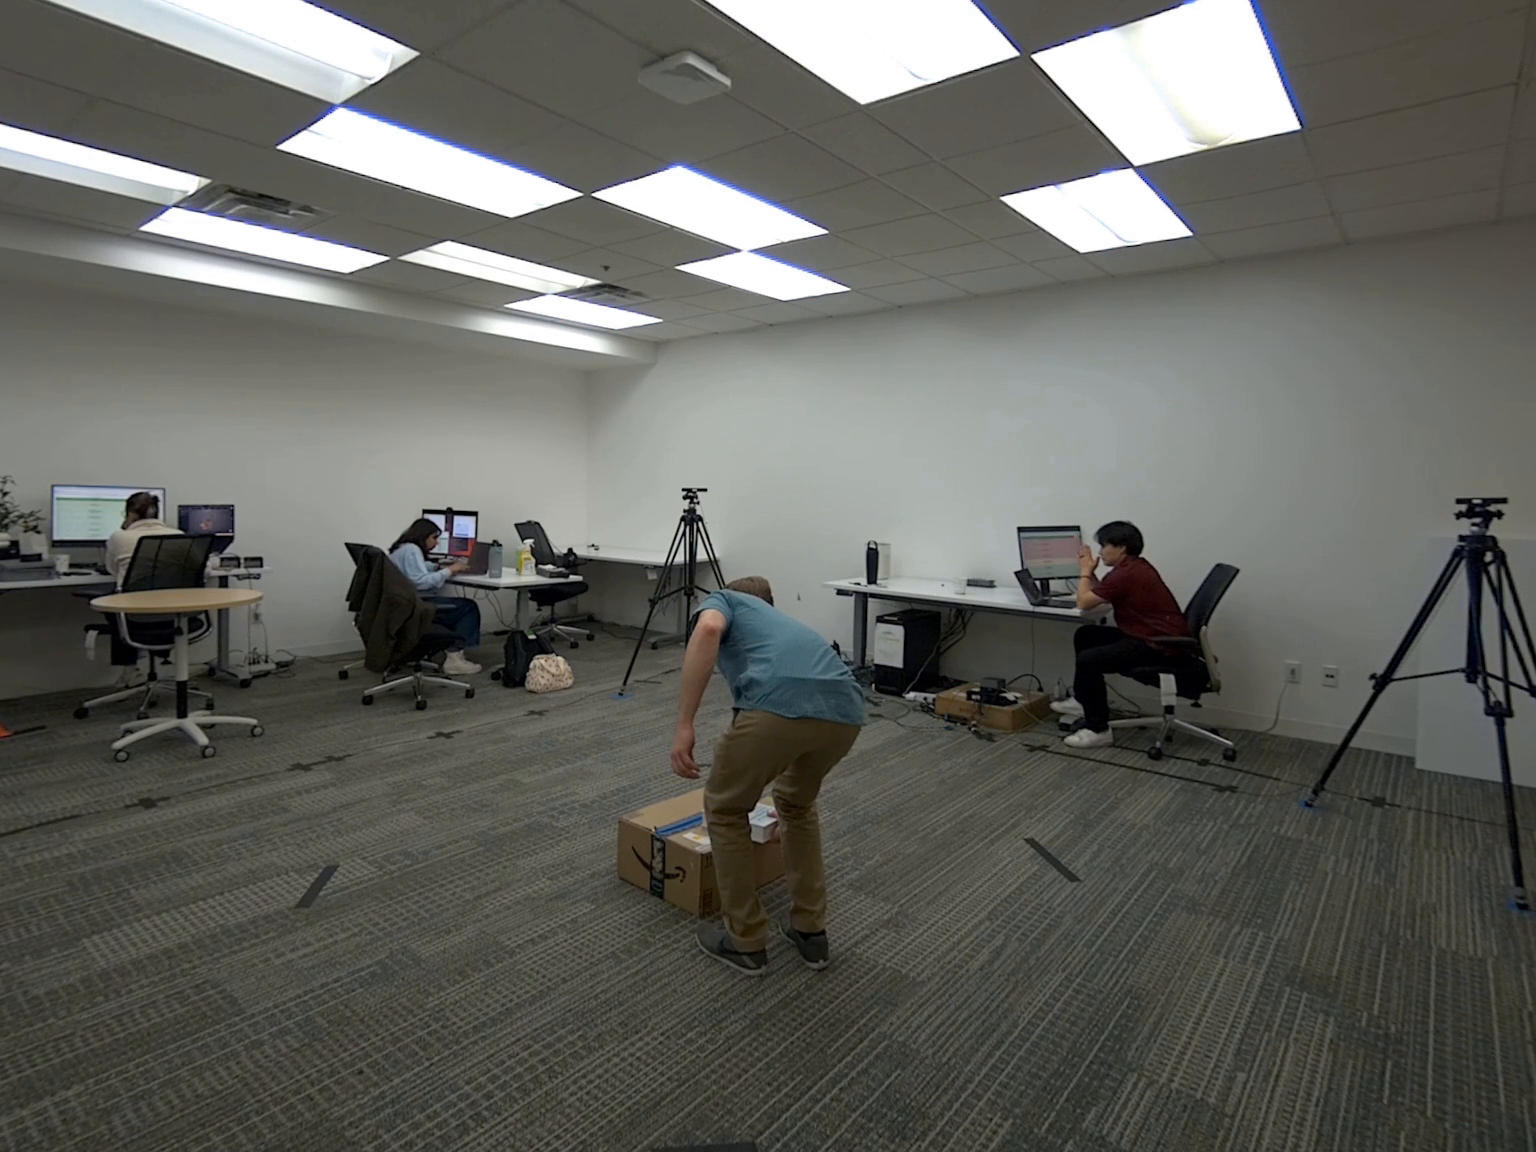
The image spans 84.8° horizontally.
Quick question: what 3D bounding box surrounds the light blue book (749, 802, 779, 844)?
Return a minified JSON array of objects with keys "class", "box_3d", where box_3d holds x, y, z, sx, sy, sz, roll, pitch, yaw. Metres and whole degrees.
[{"class":"light blue book","box_3d":[-0.083,0.837,2.965,0.269,0.059,0.186,2,5,34]}]
